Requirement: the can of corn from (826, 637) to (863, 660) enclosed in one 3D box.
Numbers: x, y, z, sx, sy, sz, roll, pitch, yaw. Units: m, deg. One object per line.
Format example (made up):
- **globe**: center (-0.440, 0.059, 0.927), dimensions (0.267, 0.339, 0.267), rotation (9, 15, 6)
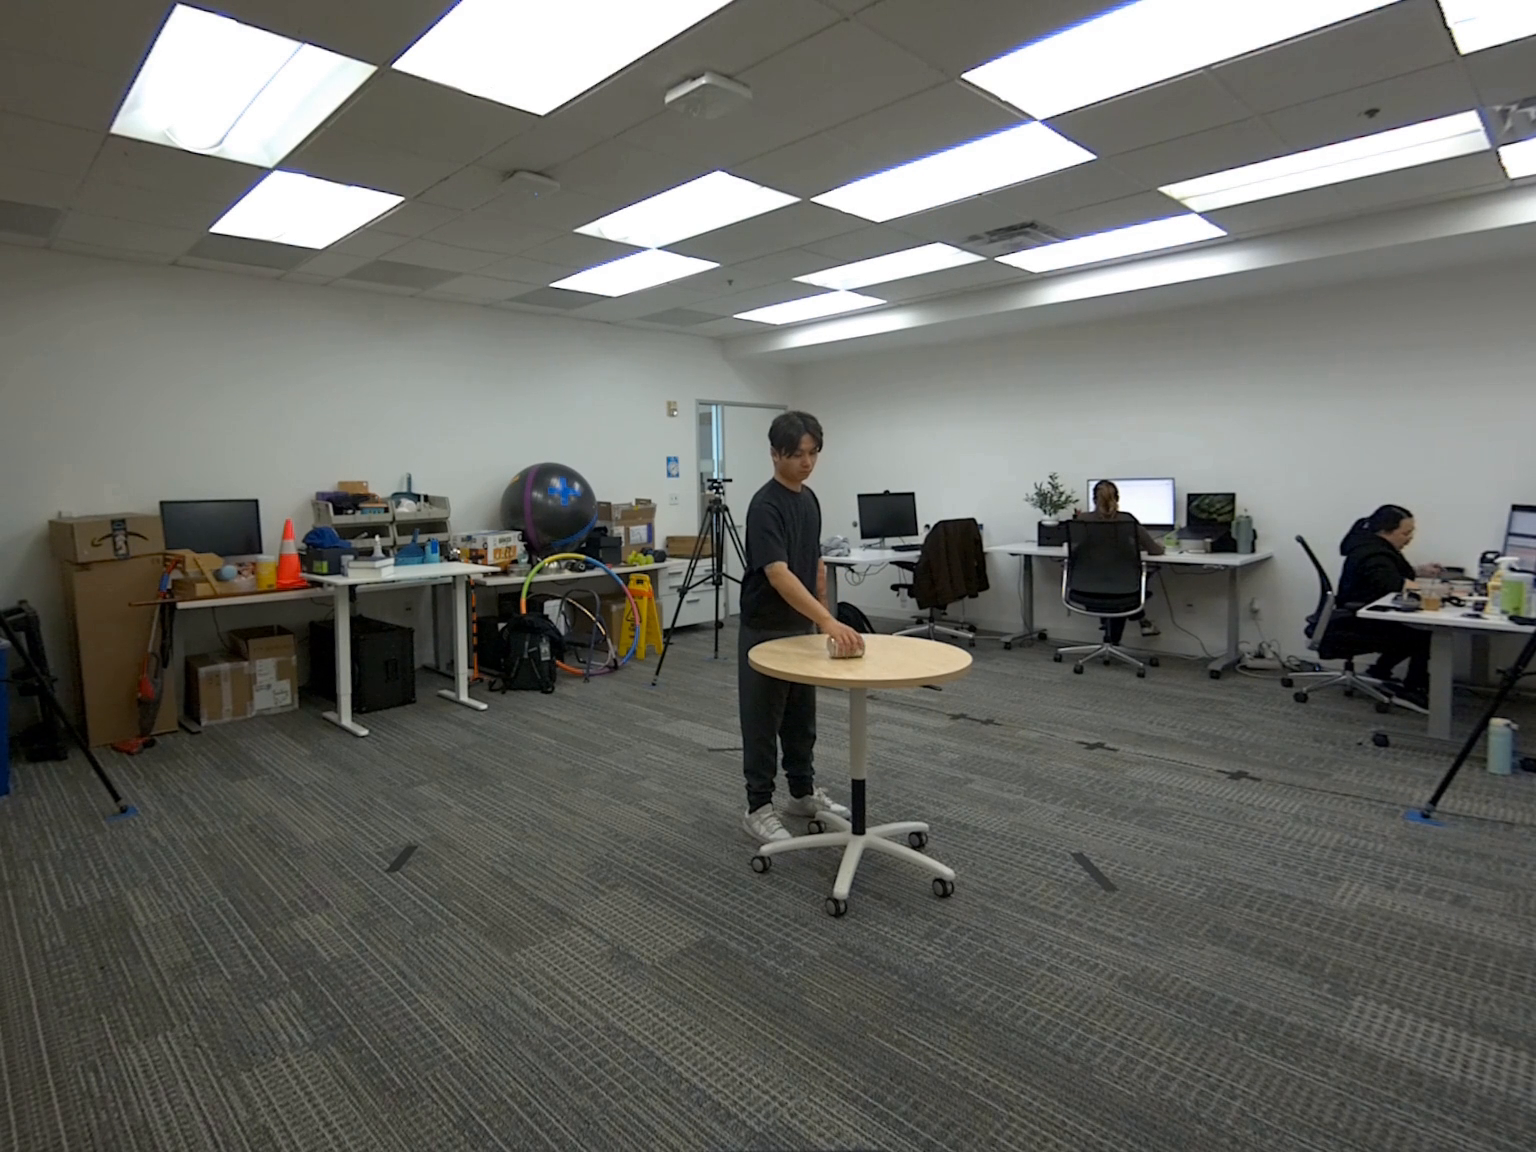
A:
- **can of corn**: center (0.267, 0.245, 2.929), dimensions (0.111, 0.074, 0.074), rotation (-6, 5, 1)
